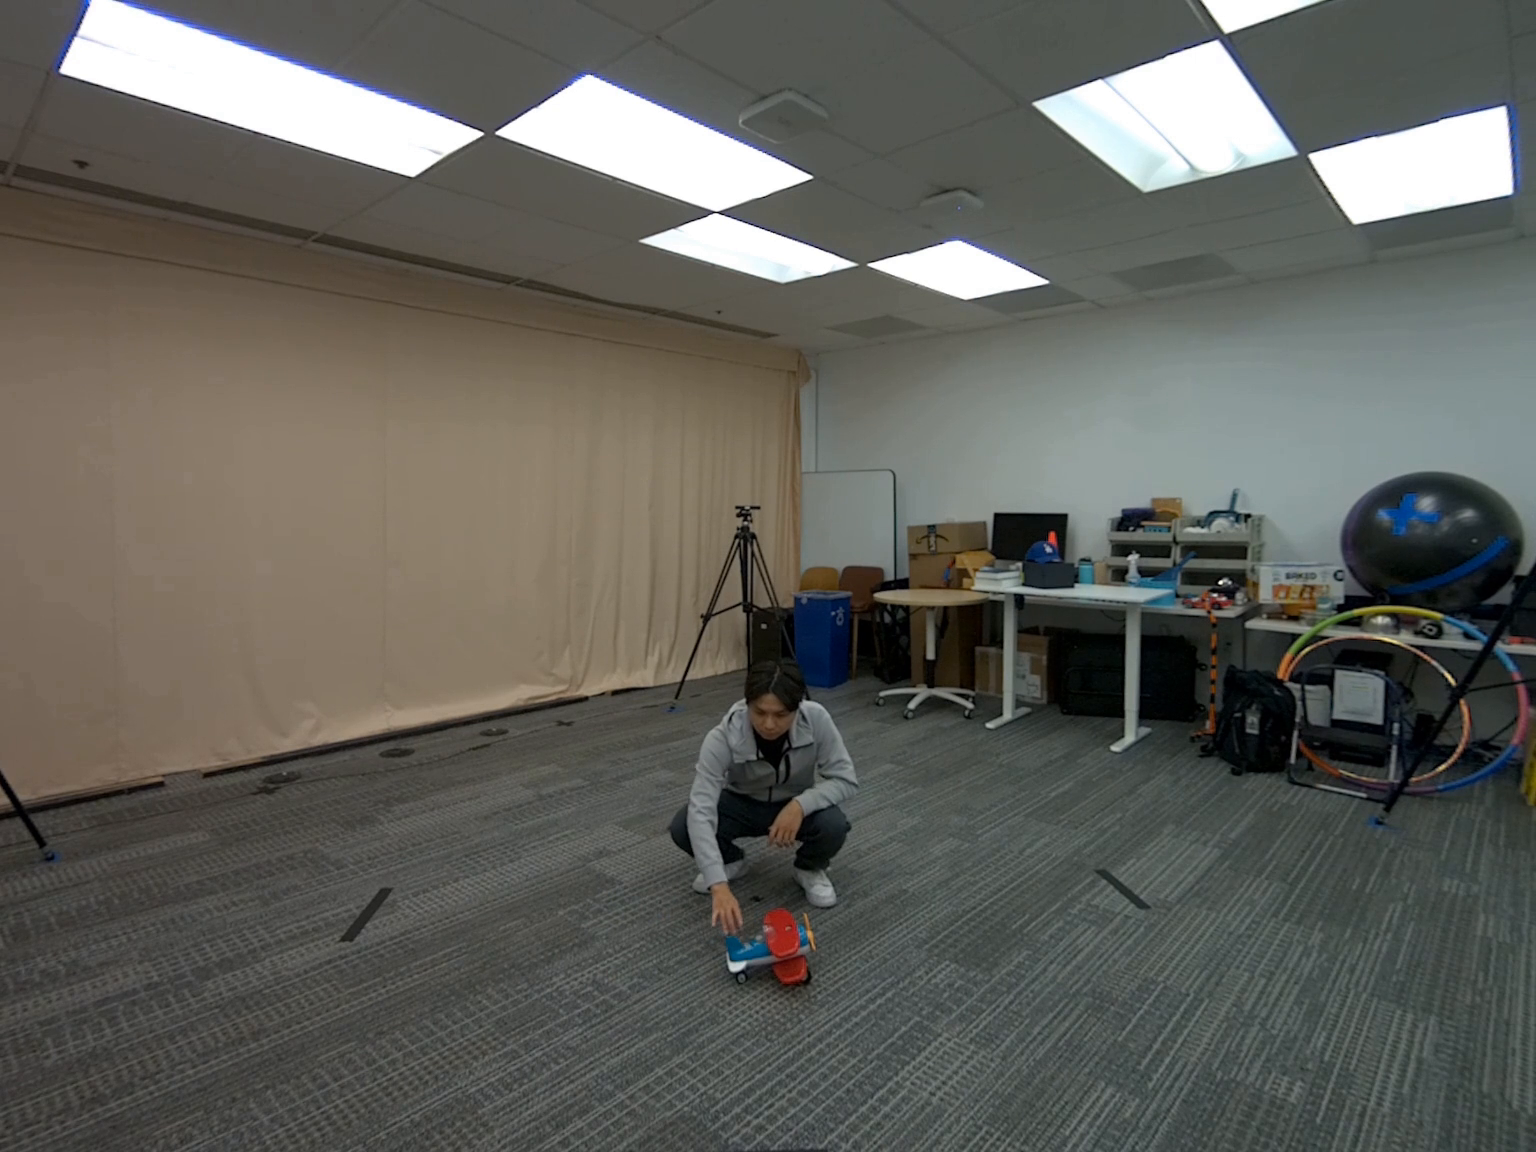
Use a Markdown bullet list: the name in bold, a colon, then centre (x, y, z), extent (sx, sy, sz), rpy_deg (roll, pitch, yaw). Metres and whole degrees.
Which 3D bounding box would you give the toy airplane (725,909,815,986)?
- **toy airplane**: centre (0.019, 1.112, 2.468), extent (0.252, 0.156, 0.259), rpy_deg (-4, 6, -33)
